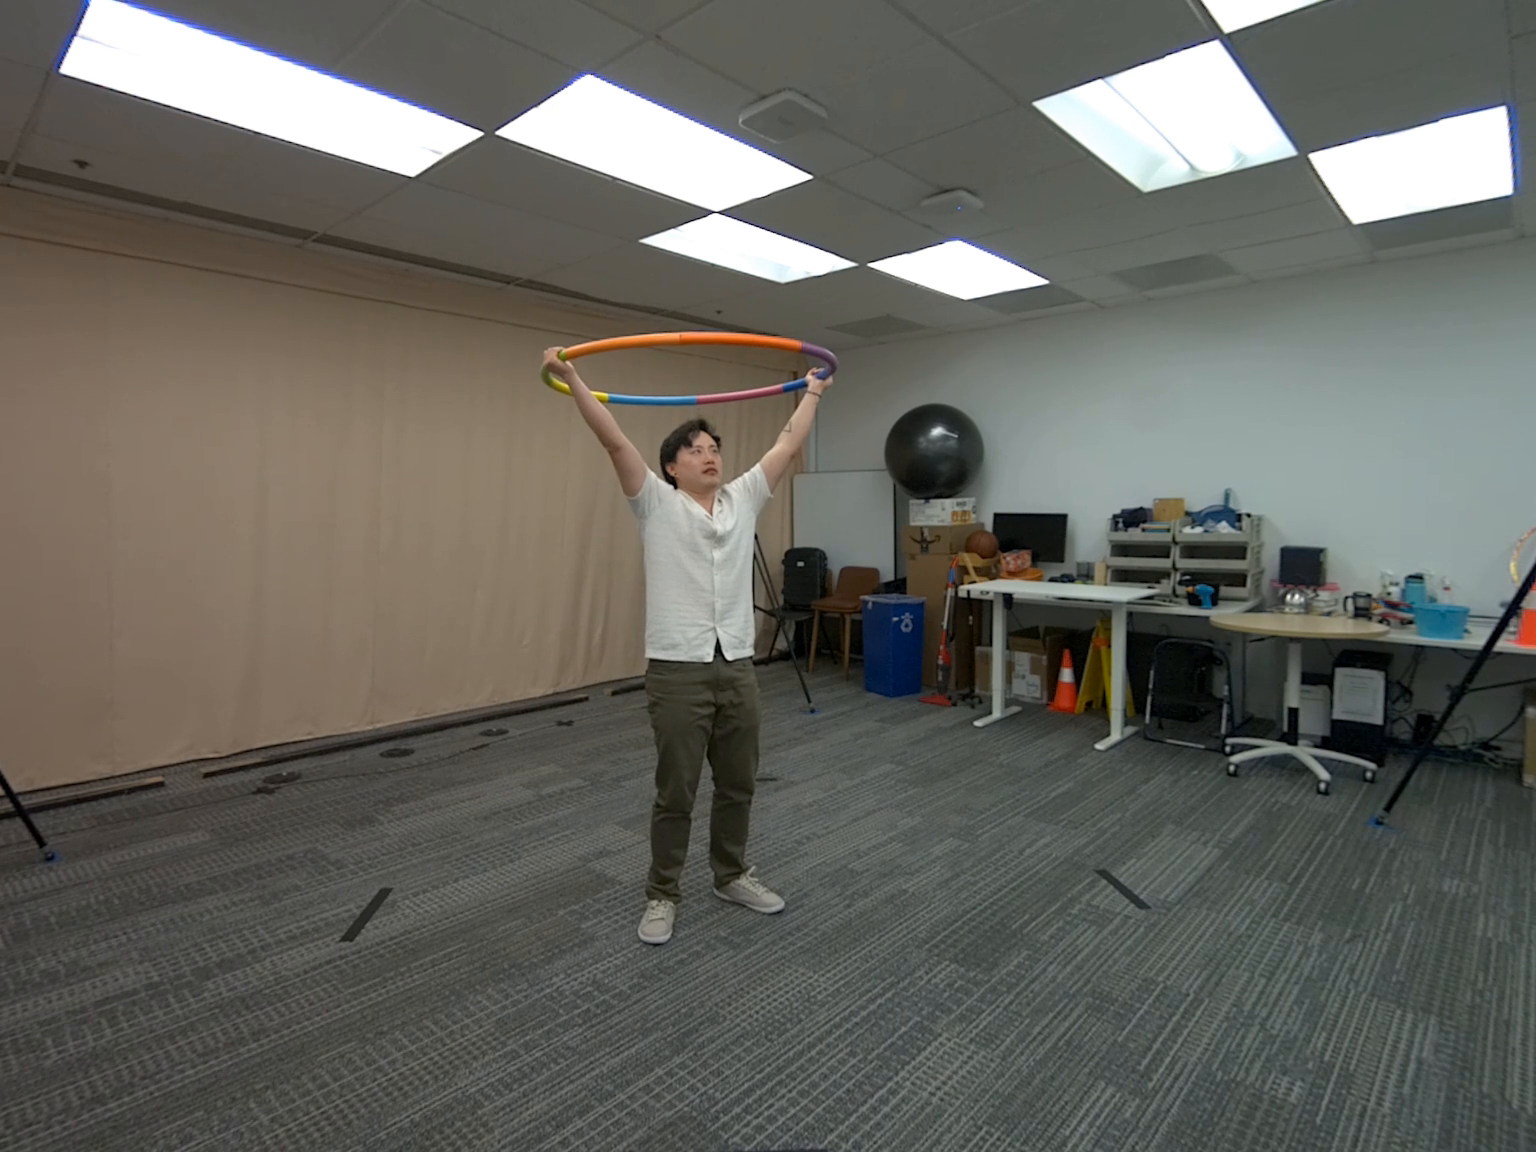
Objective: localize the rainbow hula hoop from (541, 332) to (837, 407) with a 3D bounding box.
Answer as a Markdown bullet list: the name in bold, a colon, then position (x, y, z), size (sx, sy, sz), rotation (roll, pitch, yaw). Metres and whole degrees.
- **rainbow hula hoop**: position (-0.269, -0.674, 2.835), size (0.978, 0.035, 0.980), rotation (-2, 1, -2)
